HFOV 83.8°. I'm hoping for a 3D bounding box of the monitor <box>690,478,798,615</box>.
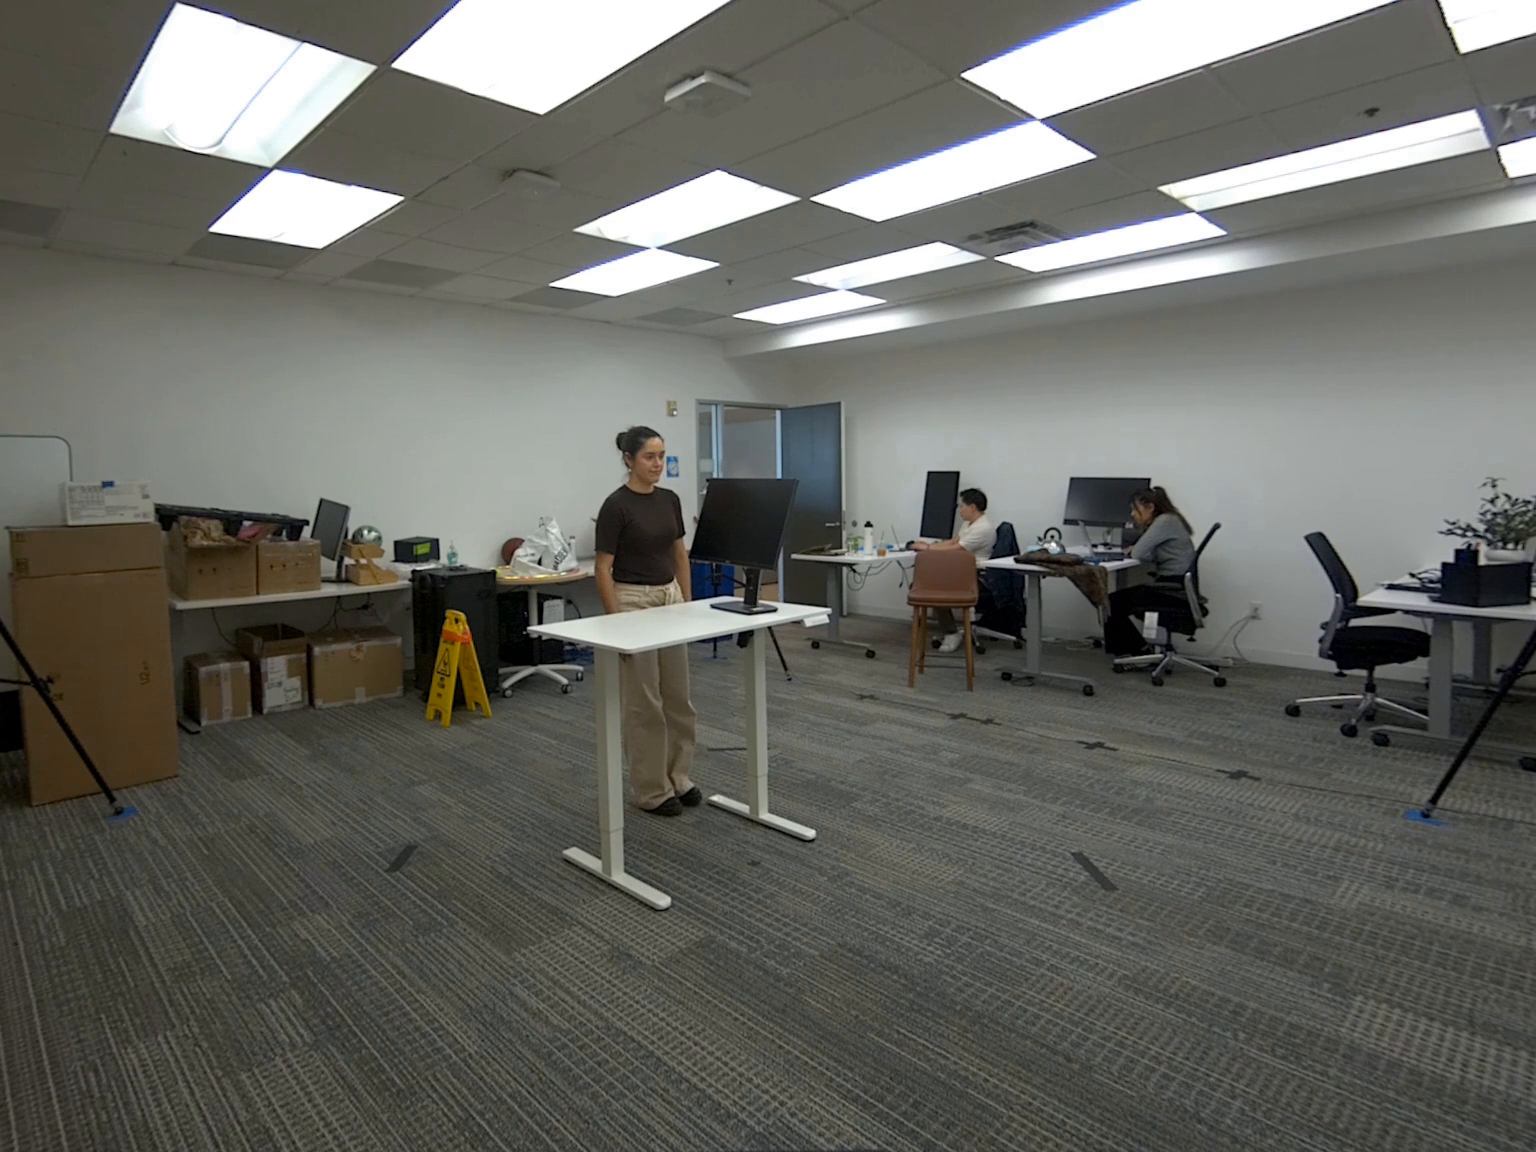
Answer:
[{"bbox_3d":[-0.077,-0.123,3.365,0.182,0.522,0.556,3,3,-38],"label":"monitor"}]
